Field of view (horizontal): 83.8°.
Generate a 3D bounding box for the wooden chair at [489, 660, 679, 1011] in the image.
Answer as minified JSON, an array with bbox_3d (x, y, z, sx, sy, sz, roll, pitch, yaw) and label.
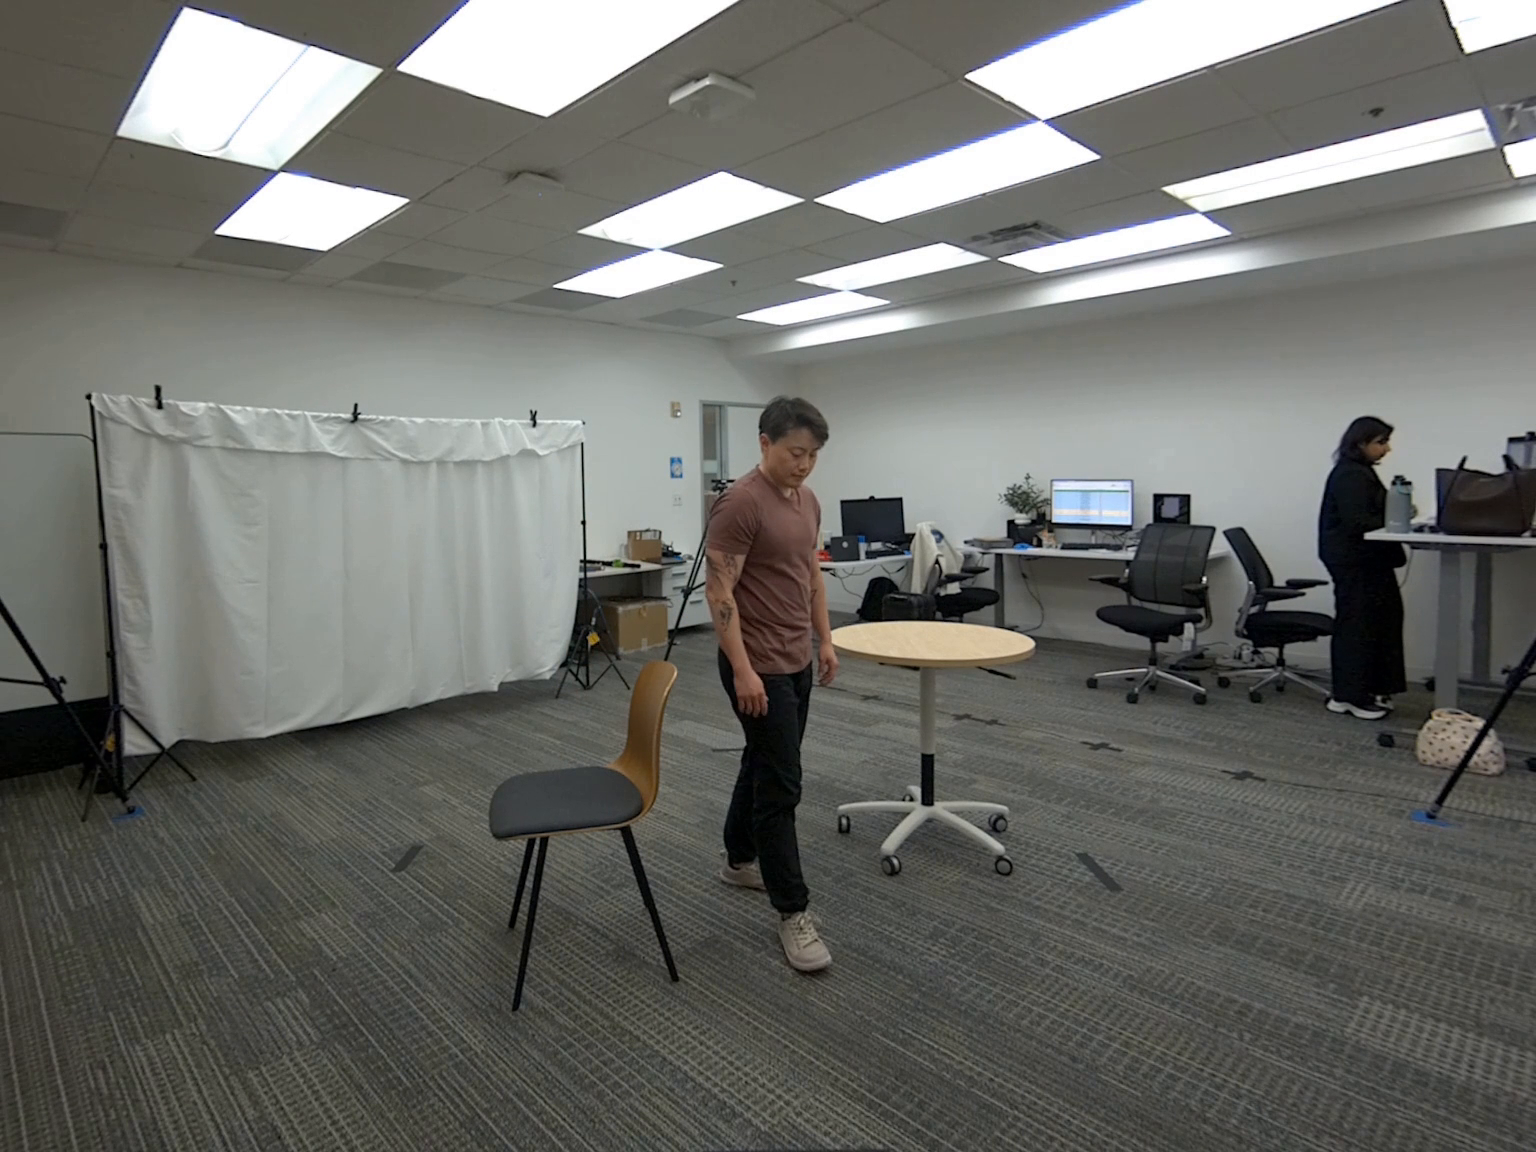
[{"bbox_3d":[-0.545,0.699,2.507,0.515,0.875,0.487,2,3,-17],"label":"wooden chair"}]
